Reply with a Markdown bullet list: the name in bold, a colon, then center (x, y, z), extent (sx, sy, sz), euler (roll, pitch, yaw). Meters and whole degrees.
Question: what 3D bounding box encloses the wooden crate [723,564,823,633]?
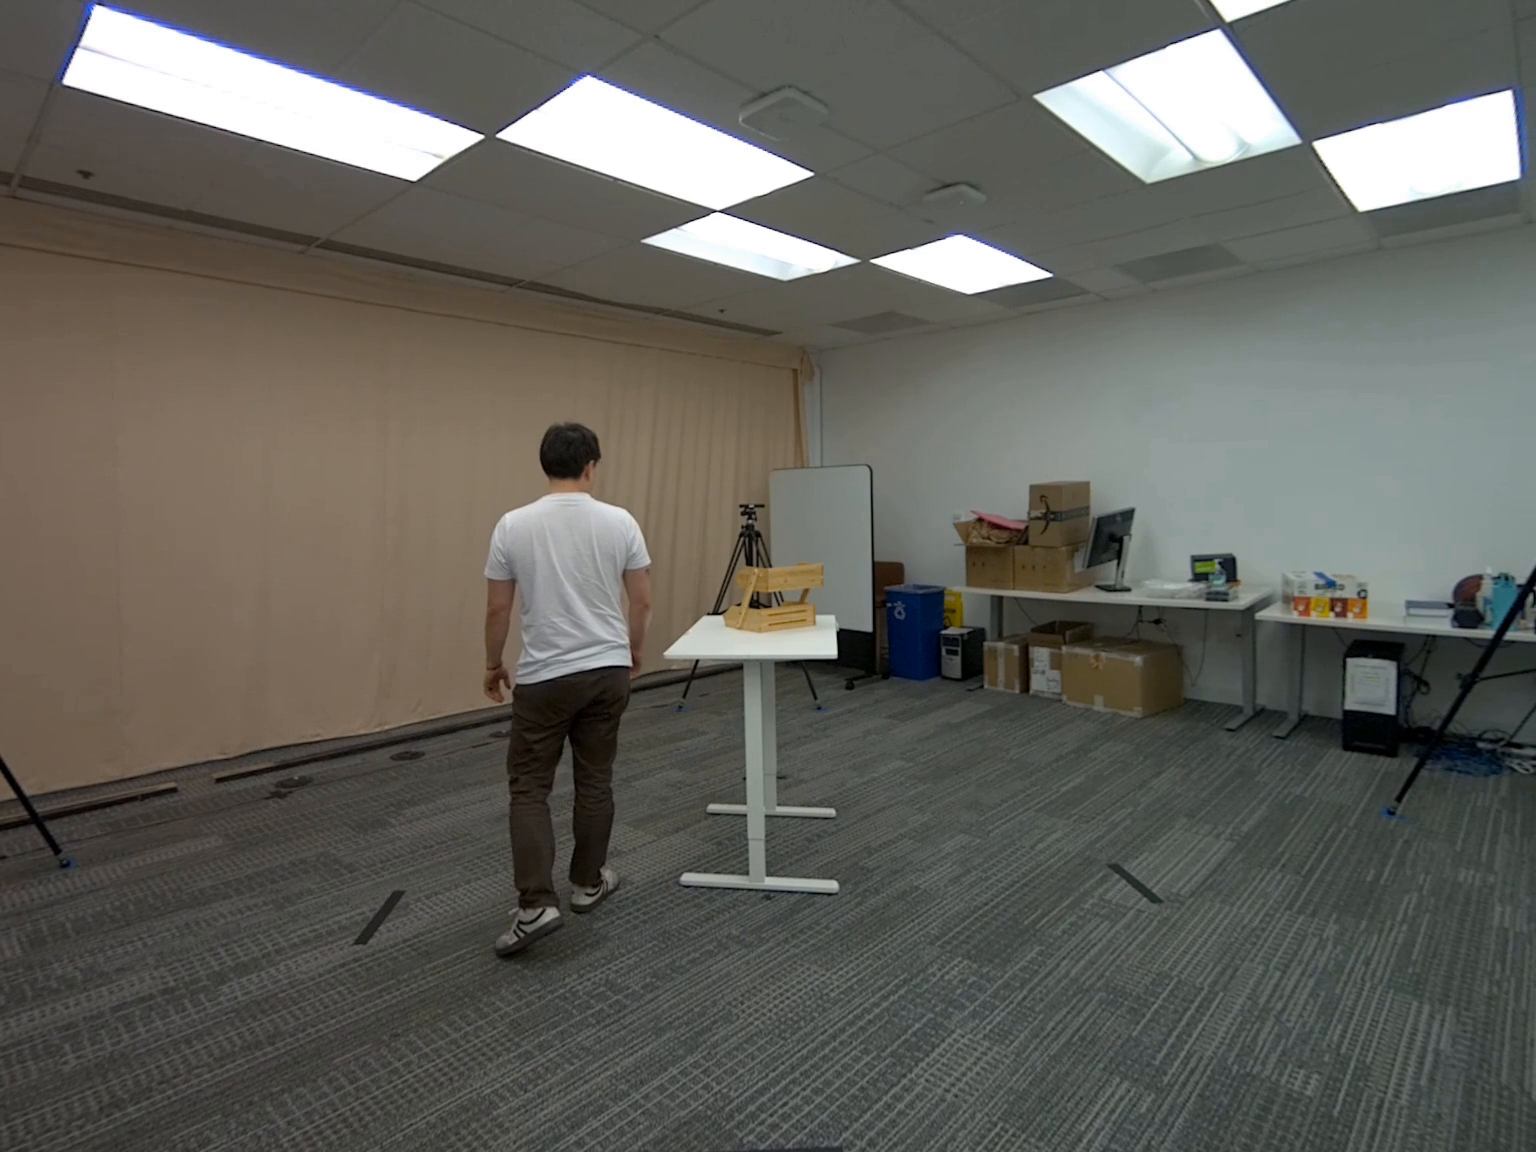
- **wooden crate**: center (0.021, 0.078, 3.519), extent (0.315, 0.272, 0.312), euler (-4, 6, -36)
